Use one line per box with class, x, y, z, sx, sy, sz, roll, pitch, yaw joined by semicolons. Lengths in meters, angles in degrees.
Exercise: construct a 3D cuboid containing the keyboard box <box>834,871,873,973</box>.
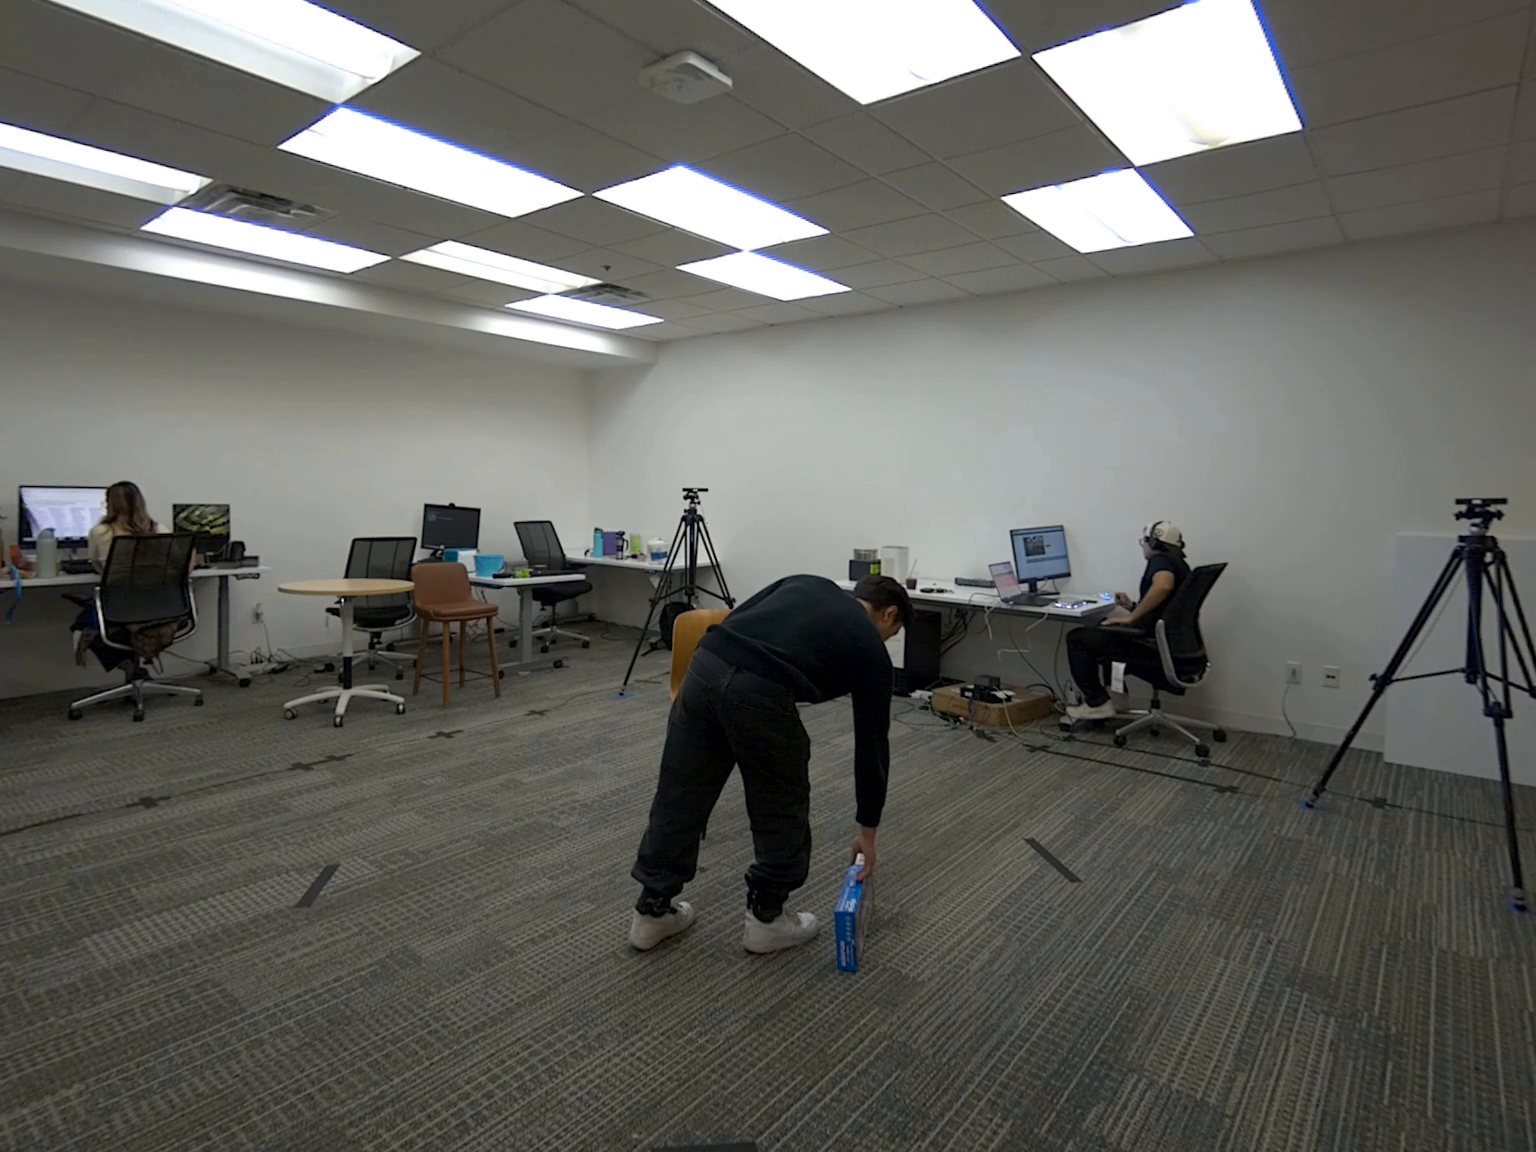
keyboard box;0.272;1.029;2.667;0.060;0.175;0.432;-3;6;13
